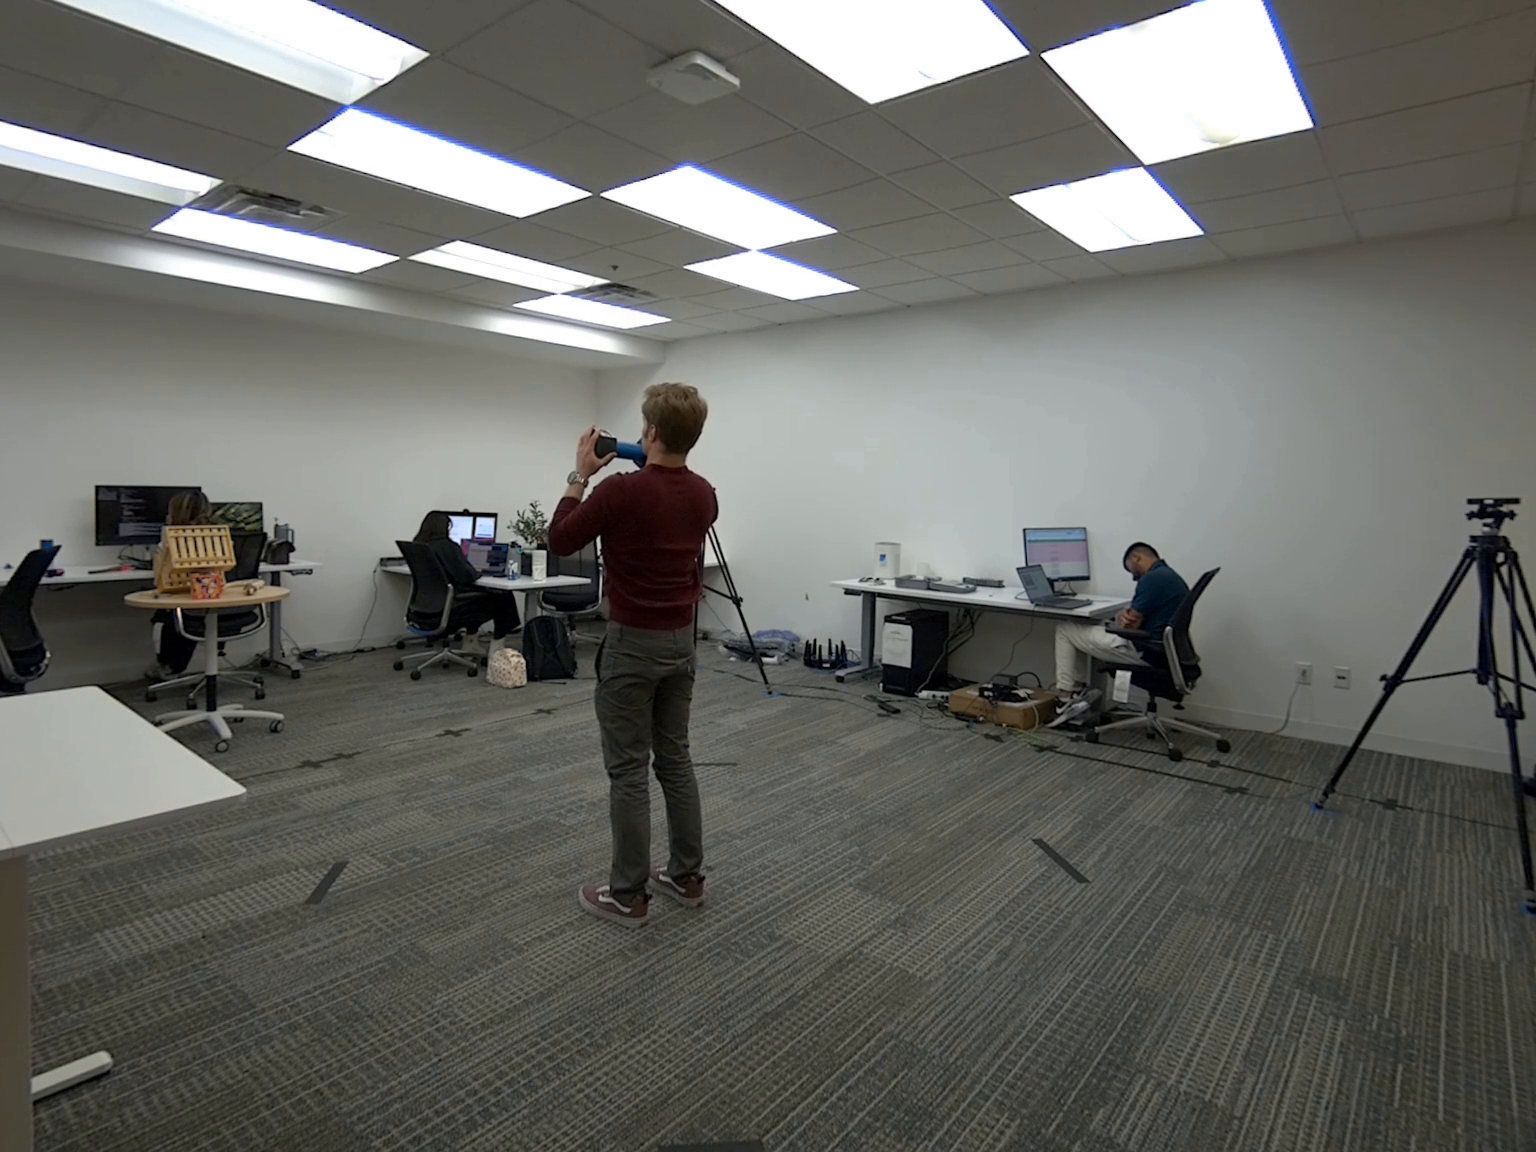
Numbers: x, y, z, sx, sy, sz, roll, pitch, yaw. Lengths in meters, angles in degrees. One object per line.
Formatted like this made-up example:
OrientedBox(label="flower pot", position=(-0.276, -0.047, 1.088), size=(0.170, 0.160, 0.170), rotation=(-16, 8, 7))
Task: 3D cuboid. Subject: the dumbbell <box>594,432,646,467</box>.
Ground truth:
OrientedBox(label="dumbbell", position=(-0.498, -0.435, 2.913), size=(0.284, 0.123, 0.112), rotation=(3, -1, -43))
